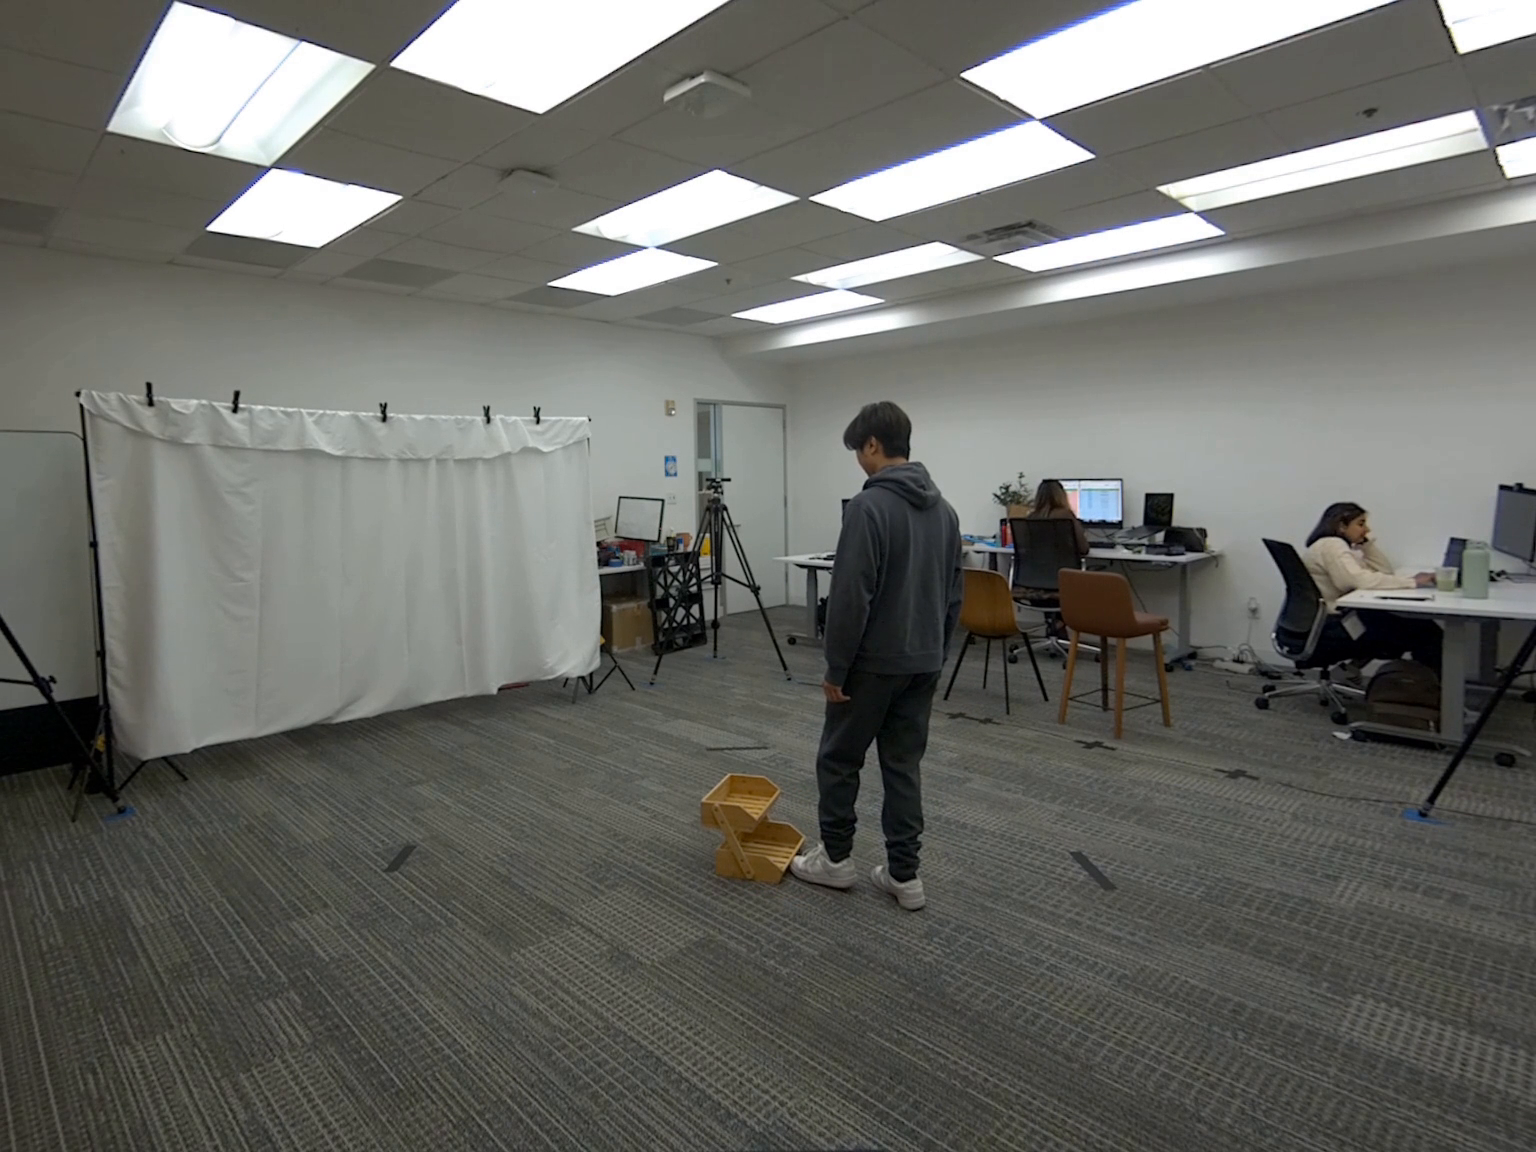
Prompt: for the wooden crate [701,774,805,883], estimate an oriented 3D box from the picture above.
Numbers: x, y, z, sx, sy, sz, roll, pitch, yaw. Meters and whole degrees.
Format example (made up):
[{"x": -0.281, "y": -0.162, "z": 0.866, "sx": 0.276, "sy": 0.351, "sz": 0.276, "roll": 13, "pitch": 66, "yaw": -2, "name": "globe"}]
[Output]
[{"x": -0.039, "y": 0.908, "z": 3.119, "sx": 0.308, "sy": 0.272, "sz": 0.320, "roll": 2, "pitch": 6, "yaw": 18, "name": "wooden crate"}]
